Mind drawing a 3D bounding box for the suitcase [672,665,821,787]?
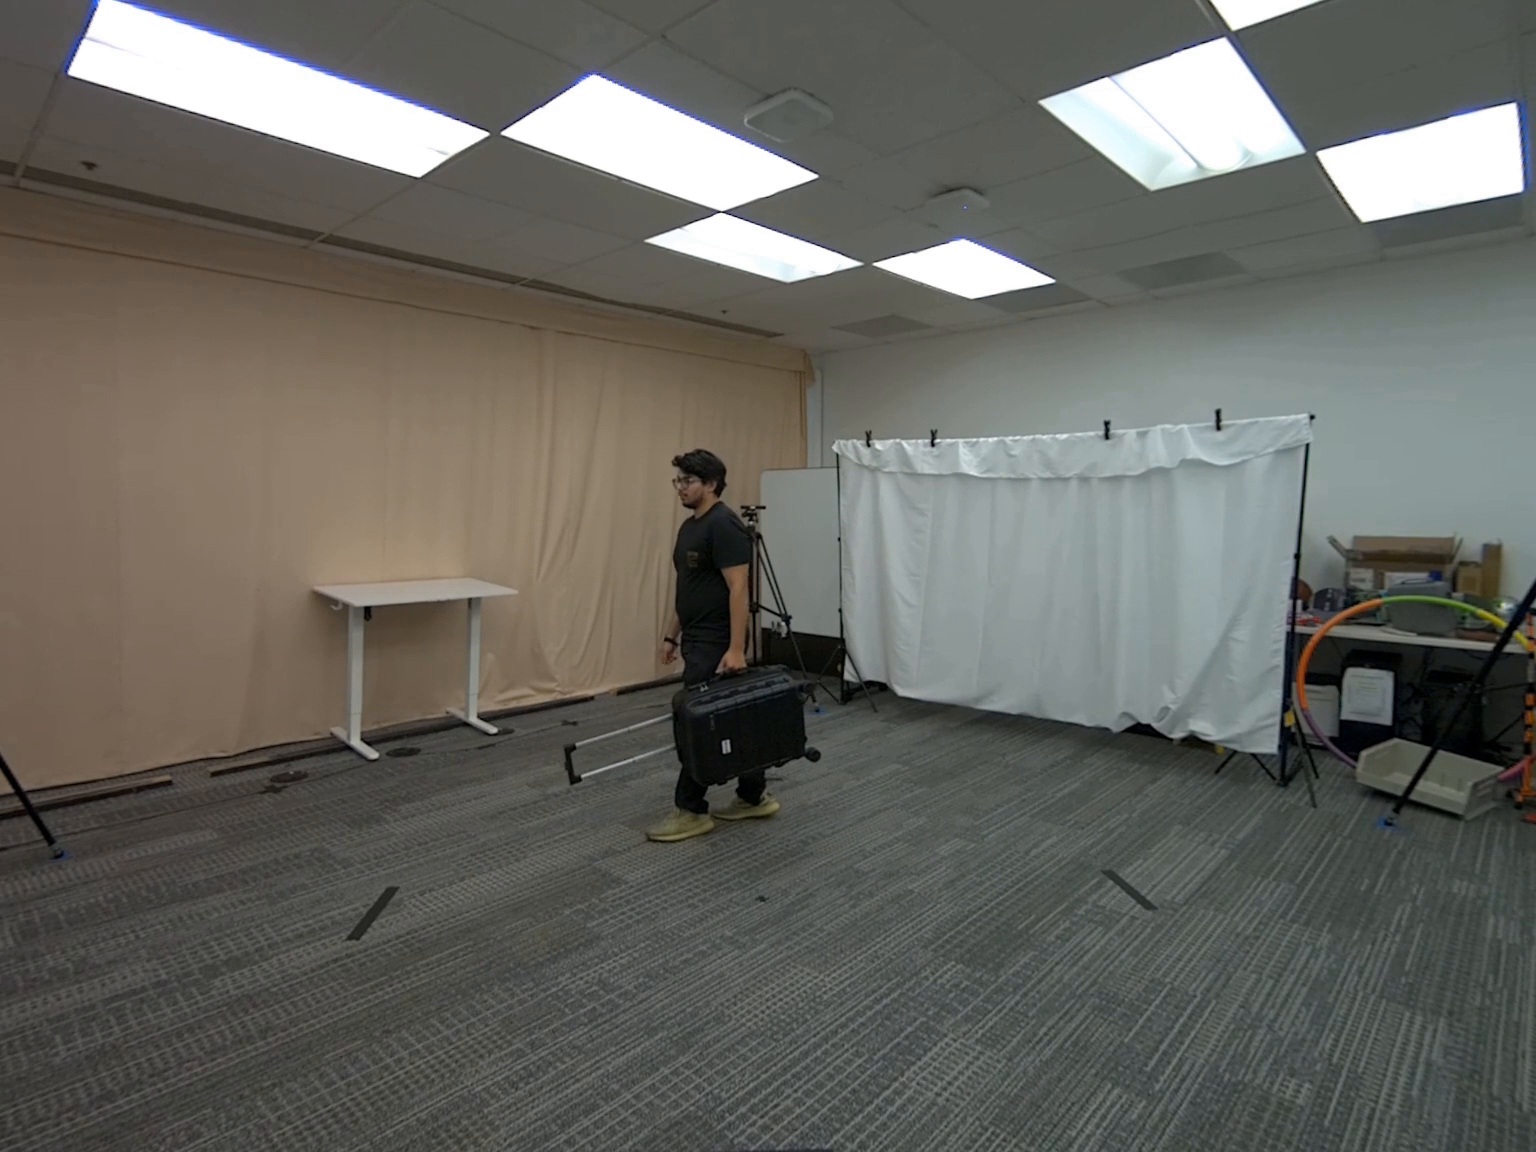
[{"bbox_3d":[-0.285,0.632,3.295,0.959,0.380,0.265,-14,15,-24],"label":"suitcase"}]
